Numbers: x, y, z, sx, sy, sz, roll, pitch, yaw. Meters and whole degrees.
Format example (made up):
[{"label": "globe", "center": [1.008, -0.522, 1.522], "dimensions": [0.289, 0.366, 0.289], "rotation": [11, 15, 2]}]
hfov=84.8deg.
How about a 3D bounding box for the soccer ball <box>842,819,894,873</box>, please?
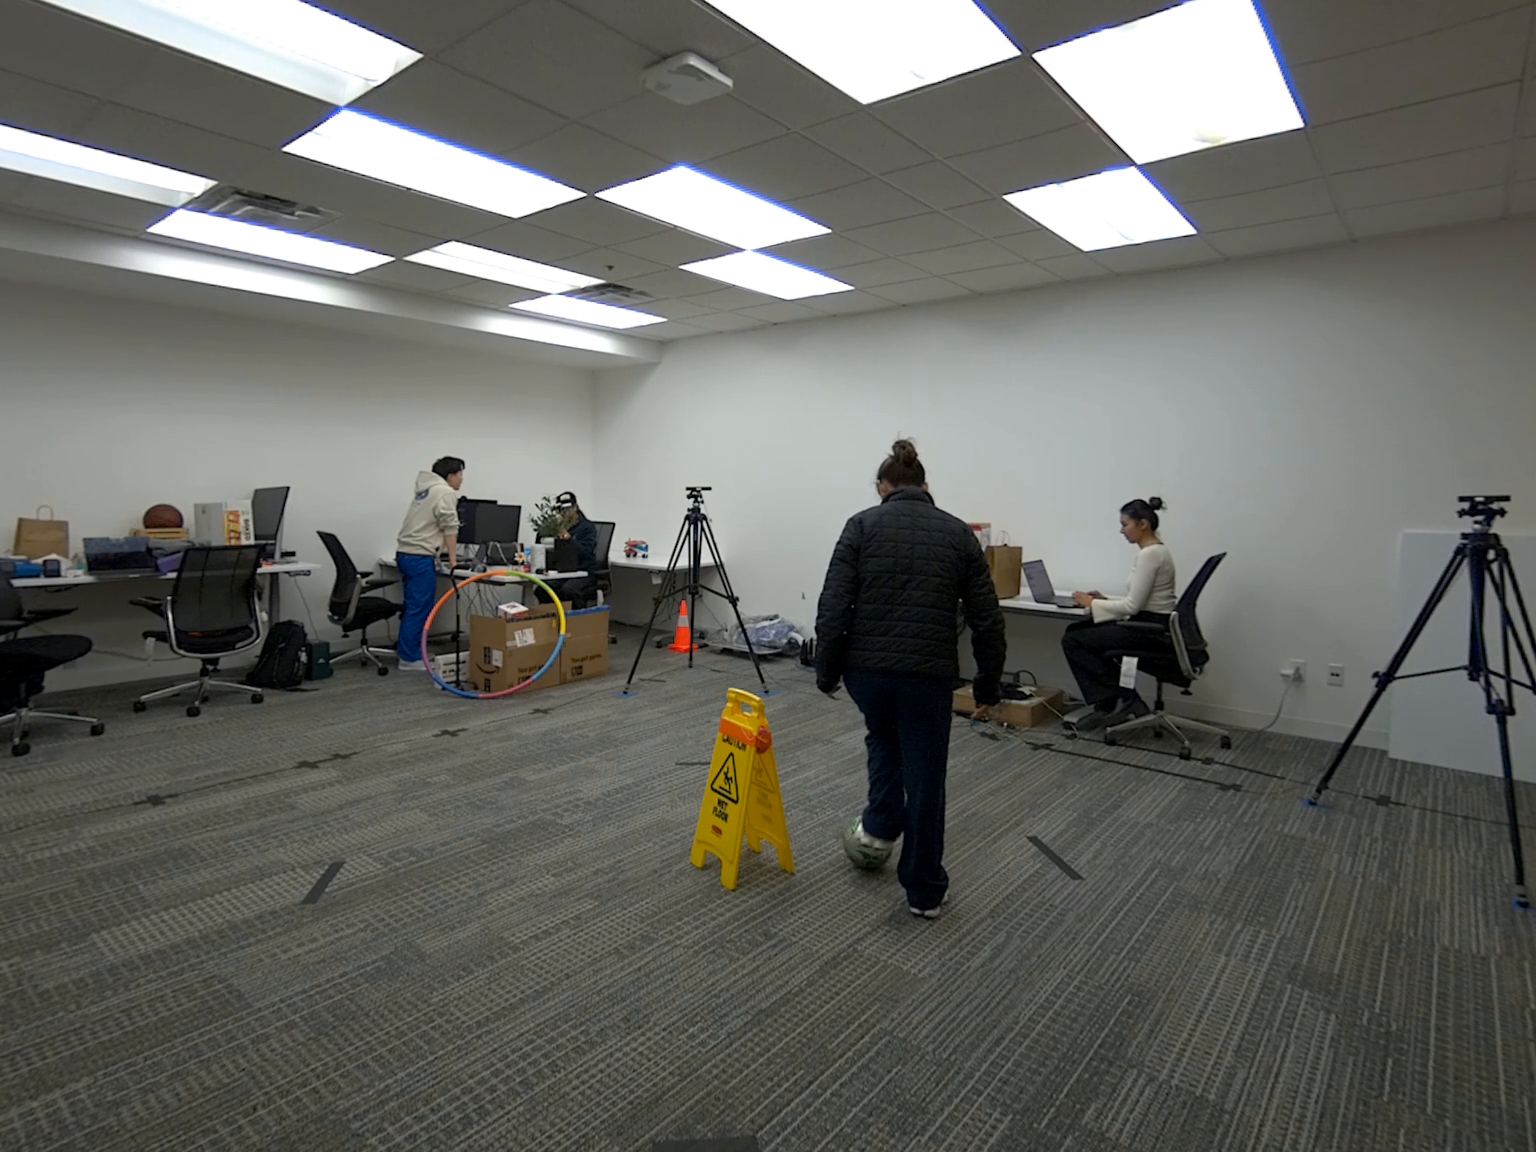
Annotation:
[{"label": "soccer ball", "center": [0.358, 0.980, 3.145], "dimensions": [0.187, 0.187, 0.188], "rotation": [1, 4, -2]}]
